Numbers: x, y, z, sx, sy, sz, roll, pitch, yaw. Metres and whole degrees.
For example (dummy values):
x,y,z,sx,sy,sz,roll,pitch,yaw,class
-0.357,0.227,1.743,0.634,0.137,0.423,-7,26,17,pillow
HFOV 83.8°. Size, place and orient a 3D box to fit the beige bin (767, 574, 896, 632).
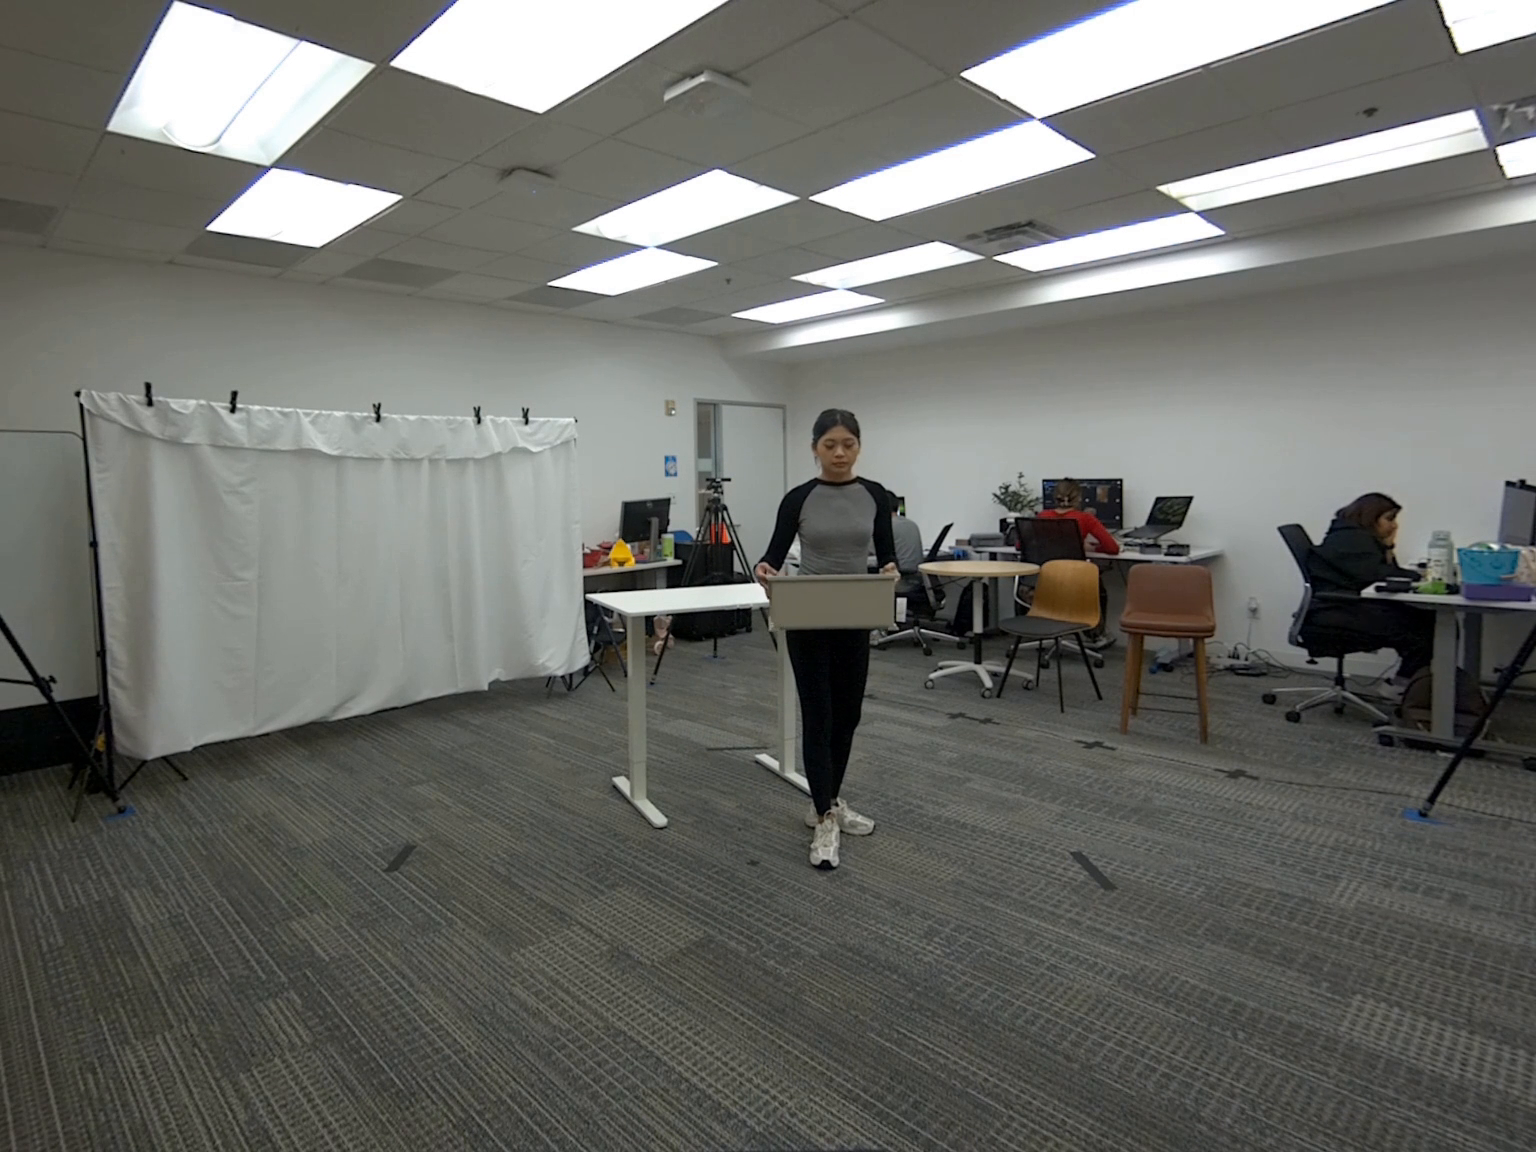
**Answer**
x,y,z,sx,sy,sz,roll,pitch,yaw,class
0.208,0.076,2.909,0.423,0.188,0.379,0,7,1,beige bin
